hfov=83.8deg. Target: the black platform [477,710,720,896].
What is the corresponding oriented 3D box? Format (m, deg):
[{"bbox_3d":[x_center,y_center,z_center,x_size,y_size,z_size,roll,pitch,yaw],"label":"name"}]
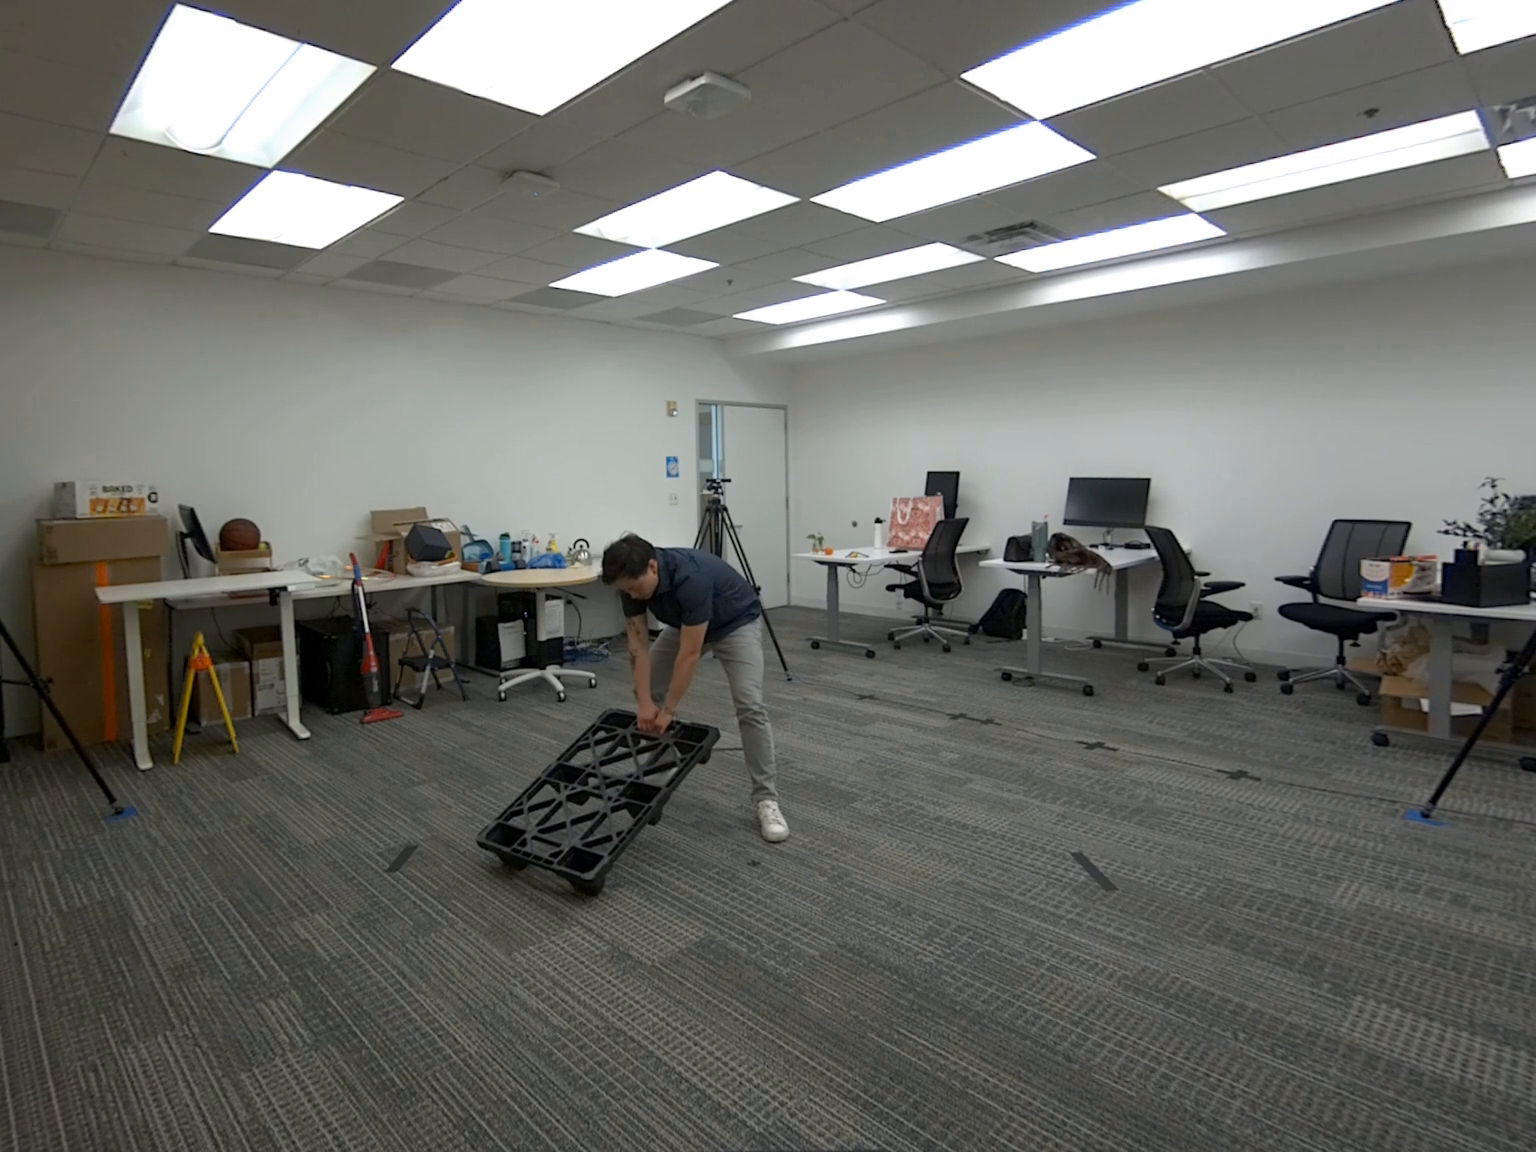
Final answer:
[{"bbox_3d":[-0.611,0.837,3.252,0.622,0.140,0.803,2,31,34],"label":"black platform"}]
